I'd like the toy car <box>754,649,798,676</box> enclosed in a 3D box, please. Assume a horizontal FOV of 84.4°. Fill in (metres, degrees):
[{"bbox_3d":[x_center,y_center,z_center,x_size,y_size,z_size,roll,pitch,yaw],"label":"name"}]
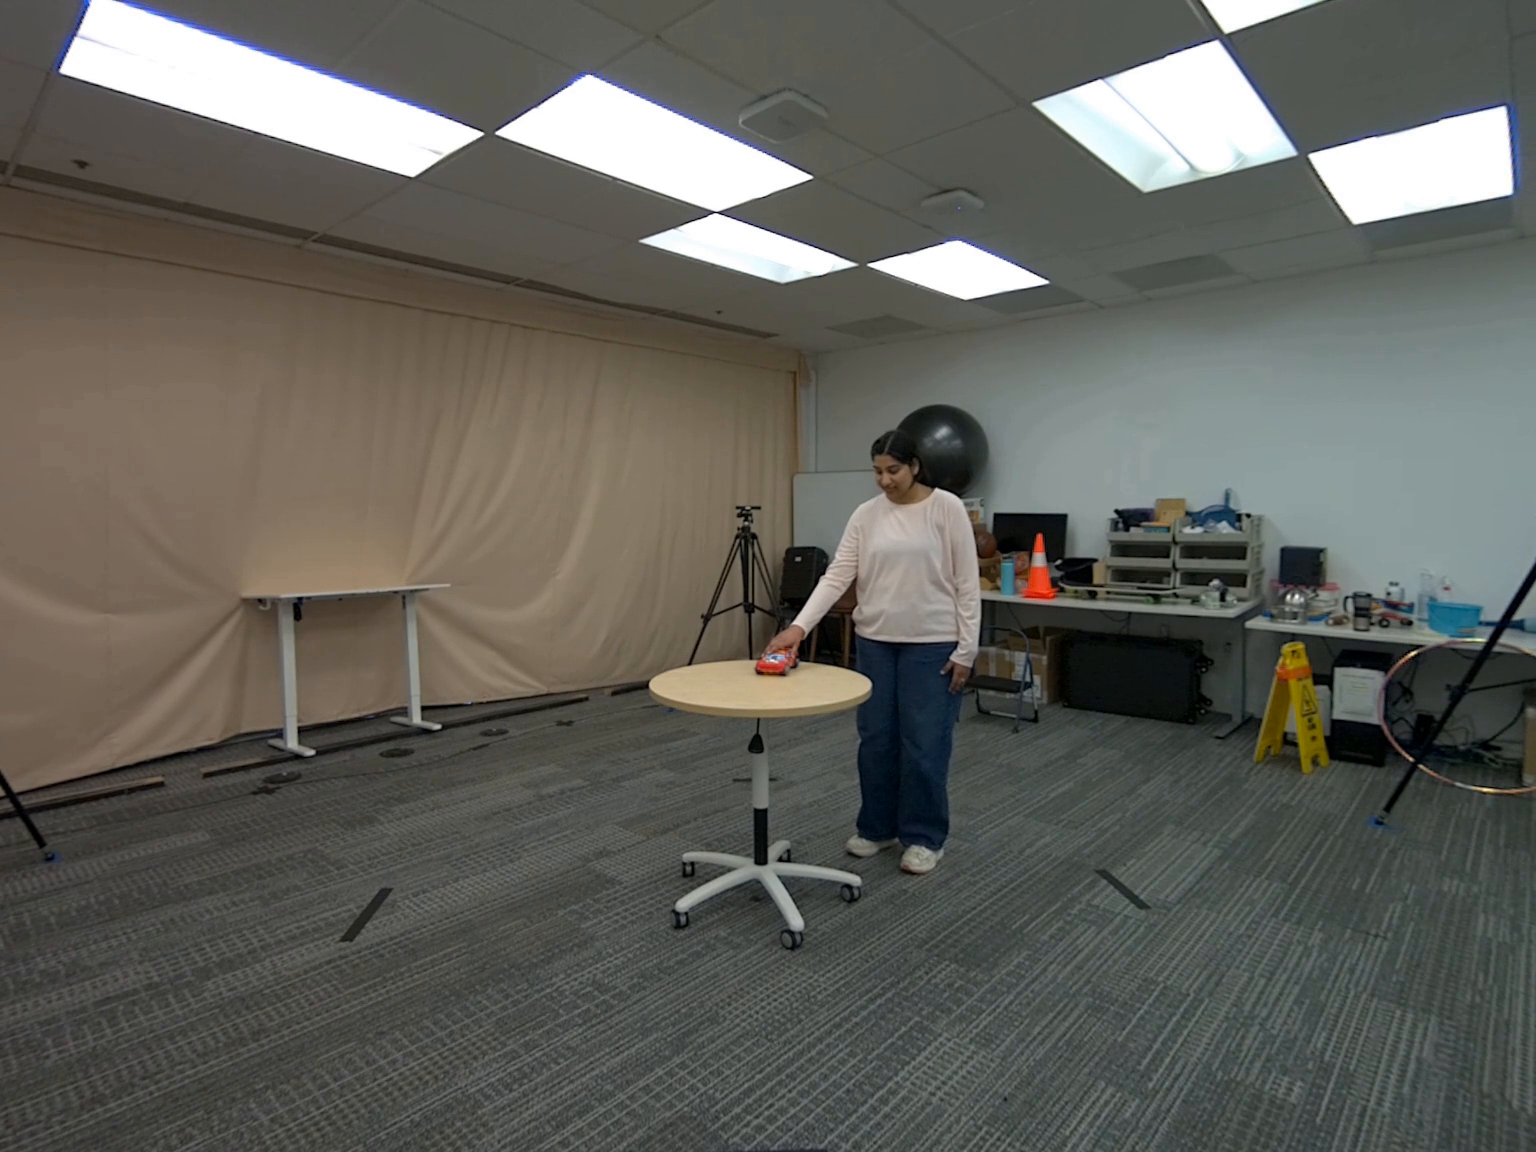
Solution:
[{"bbox_3d":[0.042,0.317,3.109,0.132,0.082,0.252,0,16,15],"label":"toy car"}]
